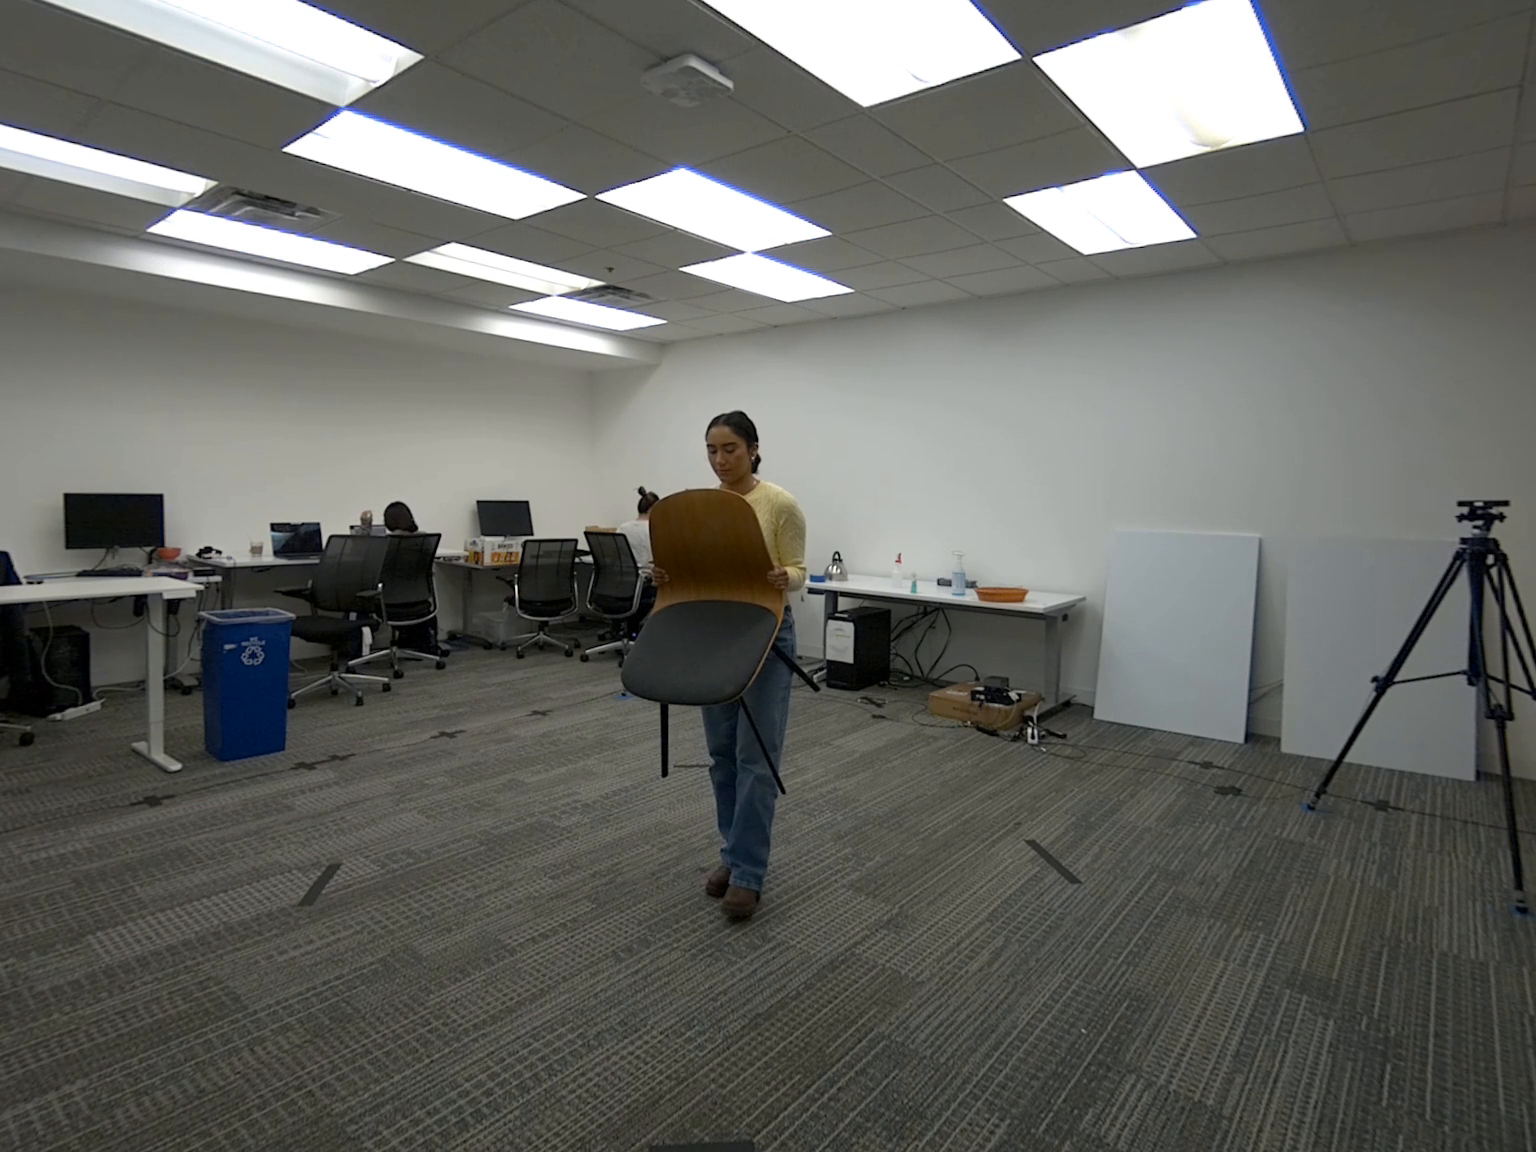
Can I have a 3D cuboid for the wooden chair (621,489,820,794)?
[{"bbox_3d":[-0.209,0.223,2.729,0.490,0.850,0.526,1,34,24],"label":"wooden chair"}]
